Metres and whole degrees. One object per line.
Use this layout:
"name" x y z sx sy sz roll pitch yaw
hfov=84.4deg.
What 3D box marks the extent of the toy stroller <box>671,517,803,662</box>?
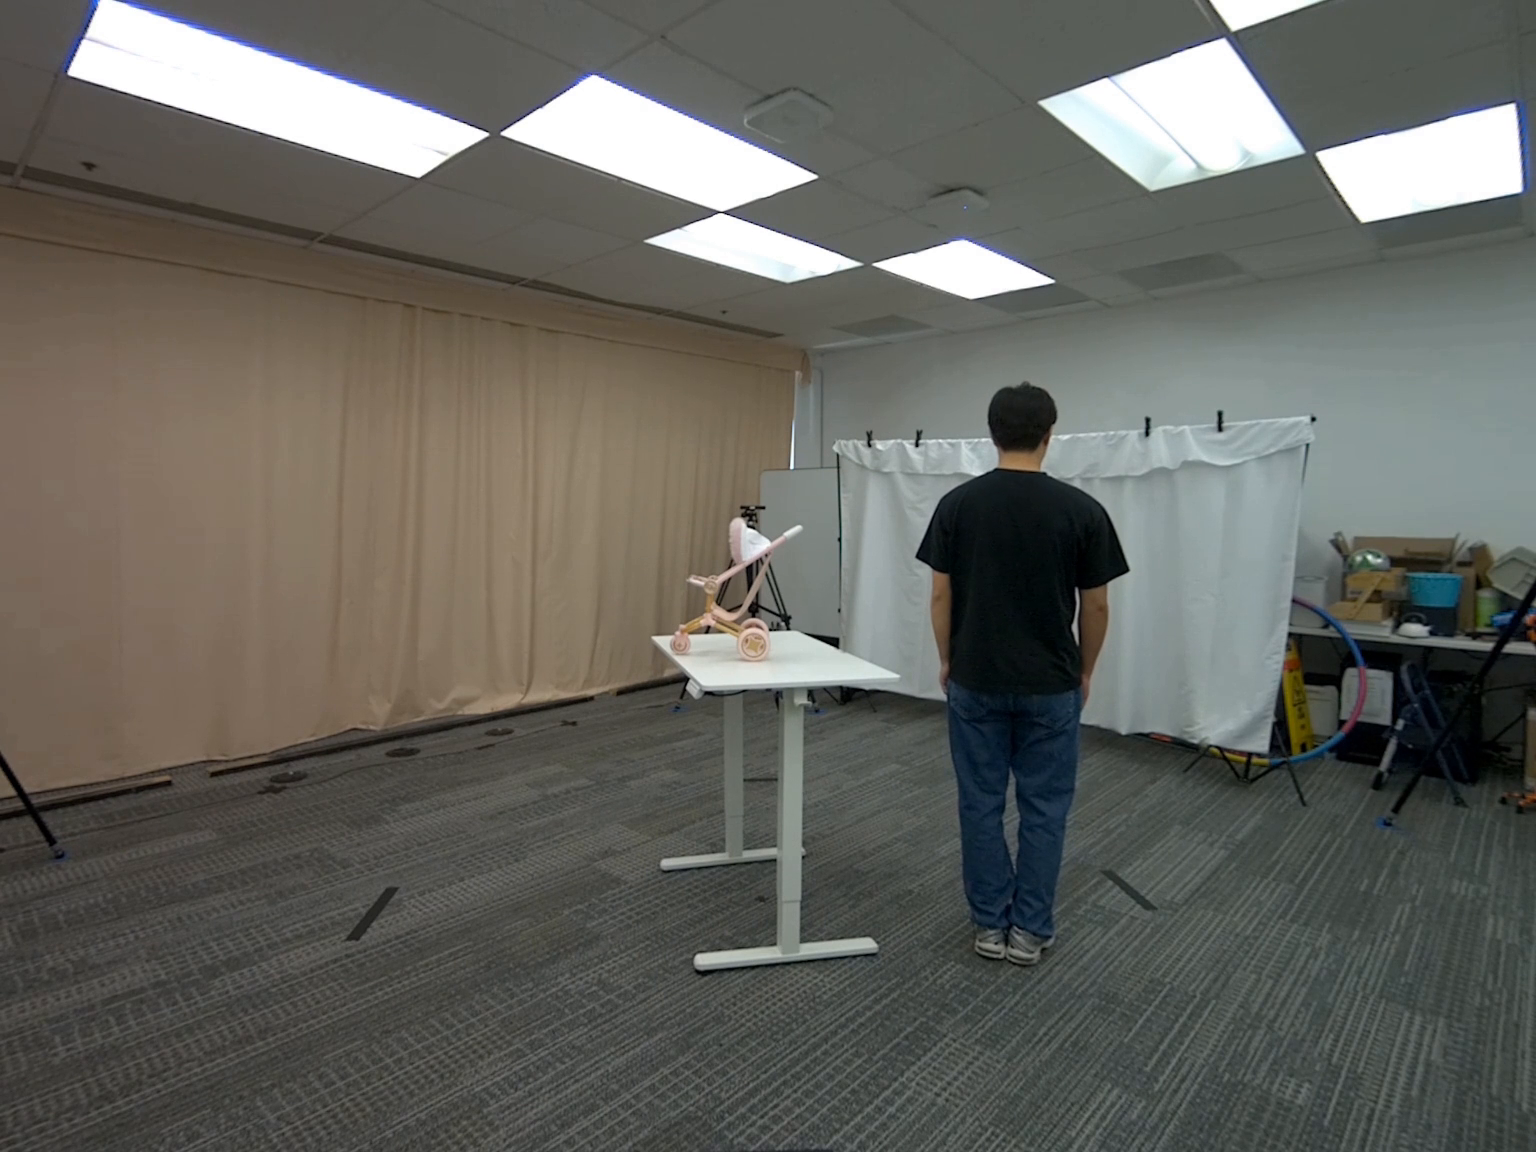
"toy stroller" -0.118 0.047 2.869 0.344 0.534 0.280 15 4 6
